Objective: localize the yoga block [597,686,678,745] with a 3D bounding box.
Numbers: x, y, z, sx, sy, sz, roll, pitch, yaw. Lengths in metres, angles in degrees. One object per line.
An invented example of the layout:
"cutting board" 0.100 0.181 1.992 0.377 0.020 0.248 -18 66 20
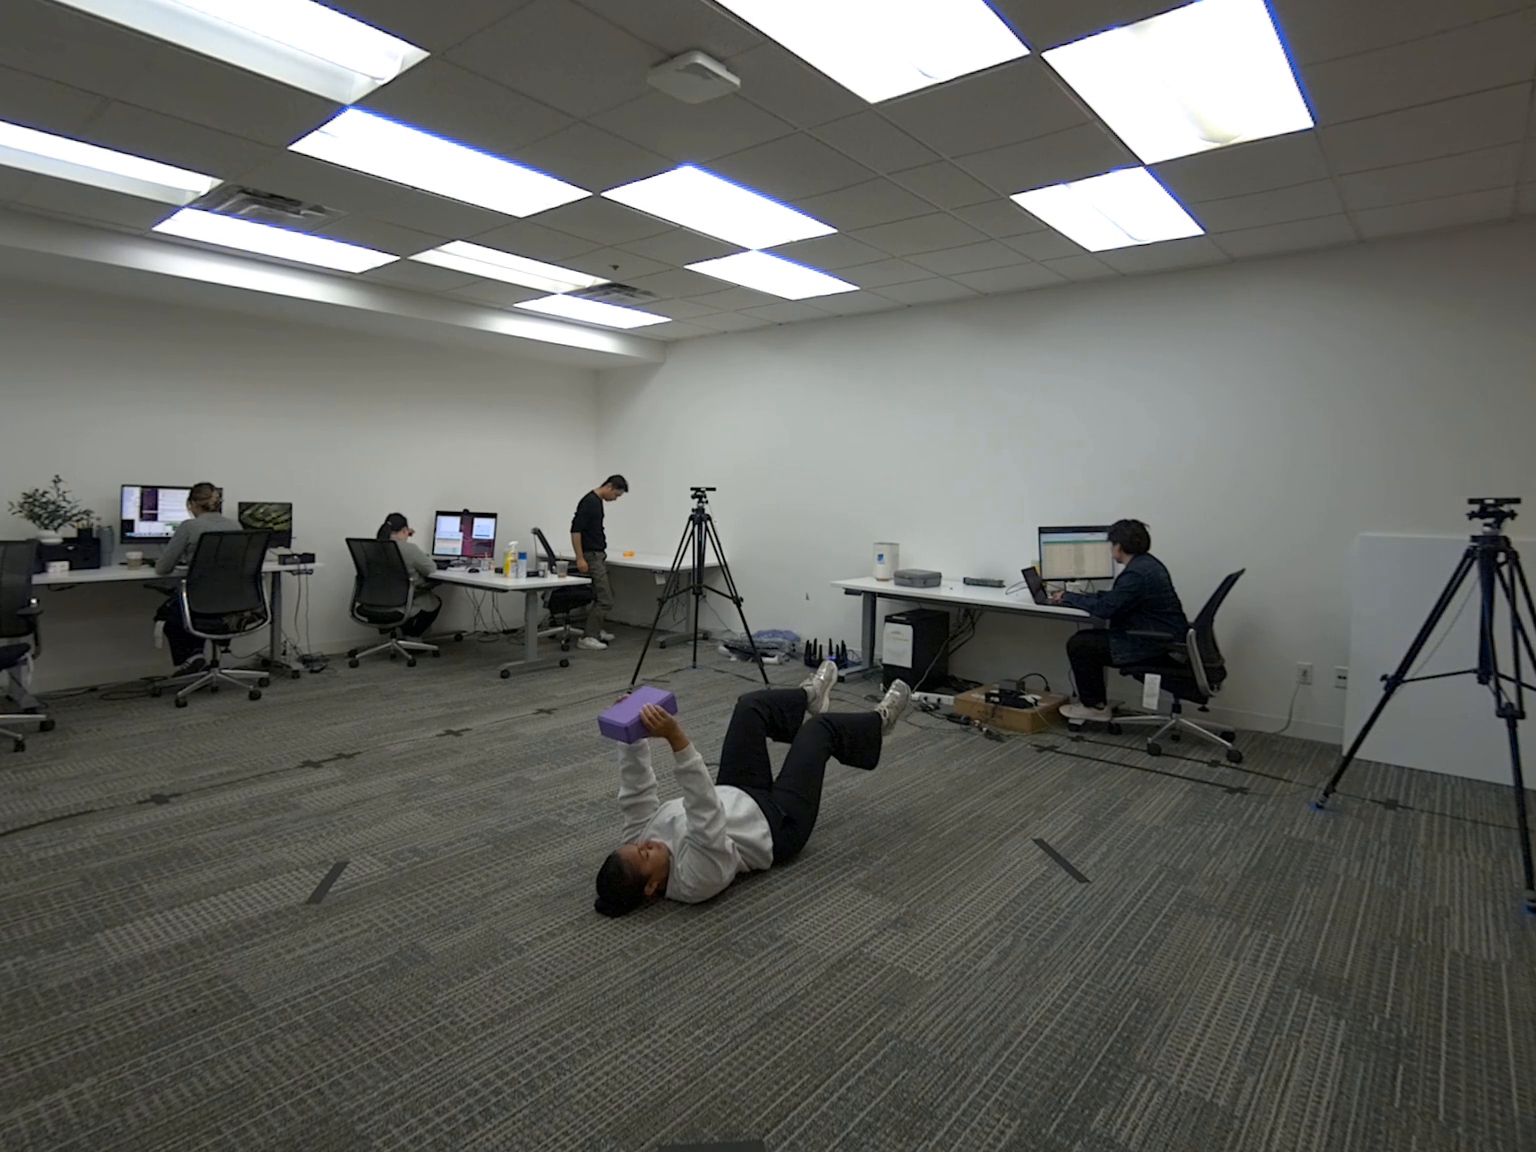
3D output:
"yoga block" -0.441 0.455 2.782 0.154 0.075 0.226 4 23 39
